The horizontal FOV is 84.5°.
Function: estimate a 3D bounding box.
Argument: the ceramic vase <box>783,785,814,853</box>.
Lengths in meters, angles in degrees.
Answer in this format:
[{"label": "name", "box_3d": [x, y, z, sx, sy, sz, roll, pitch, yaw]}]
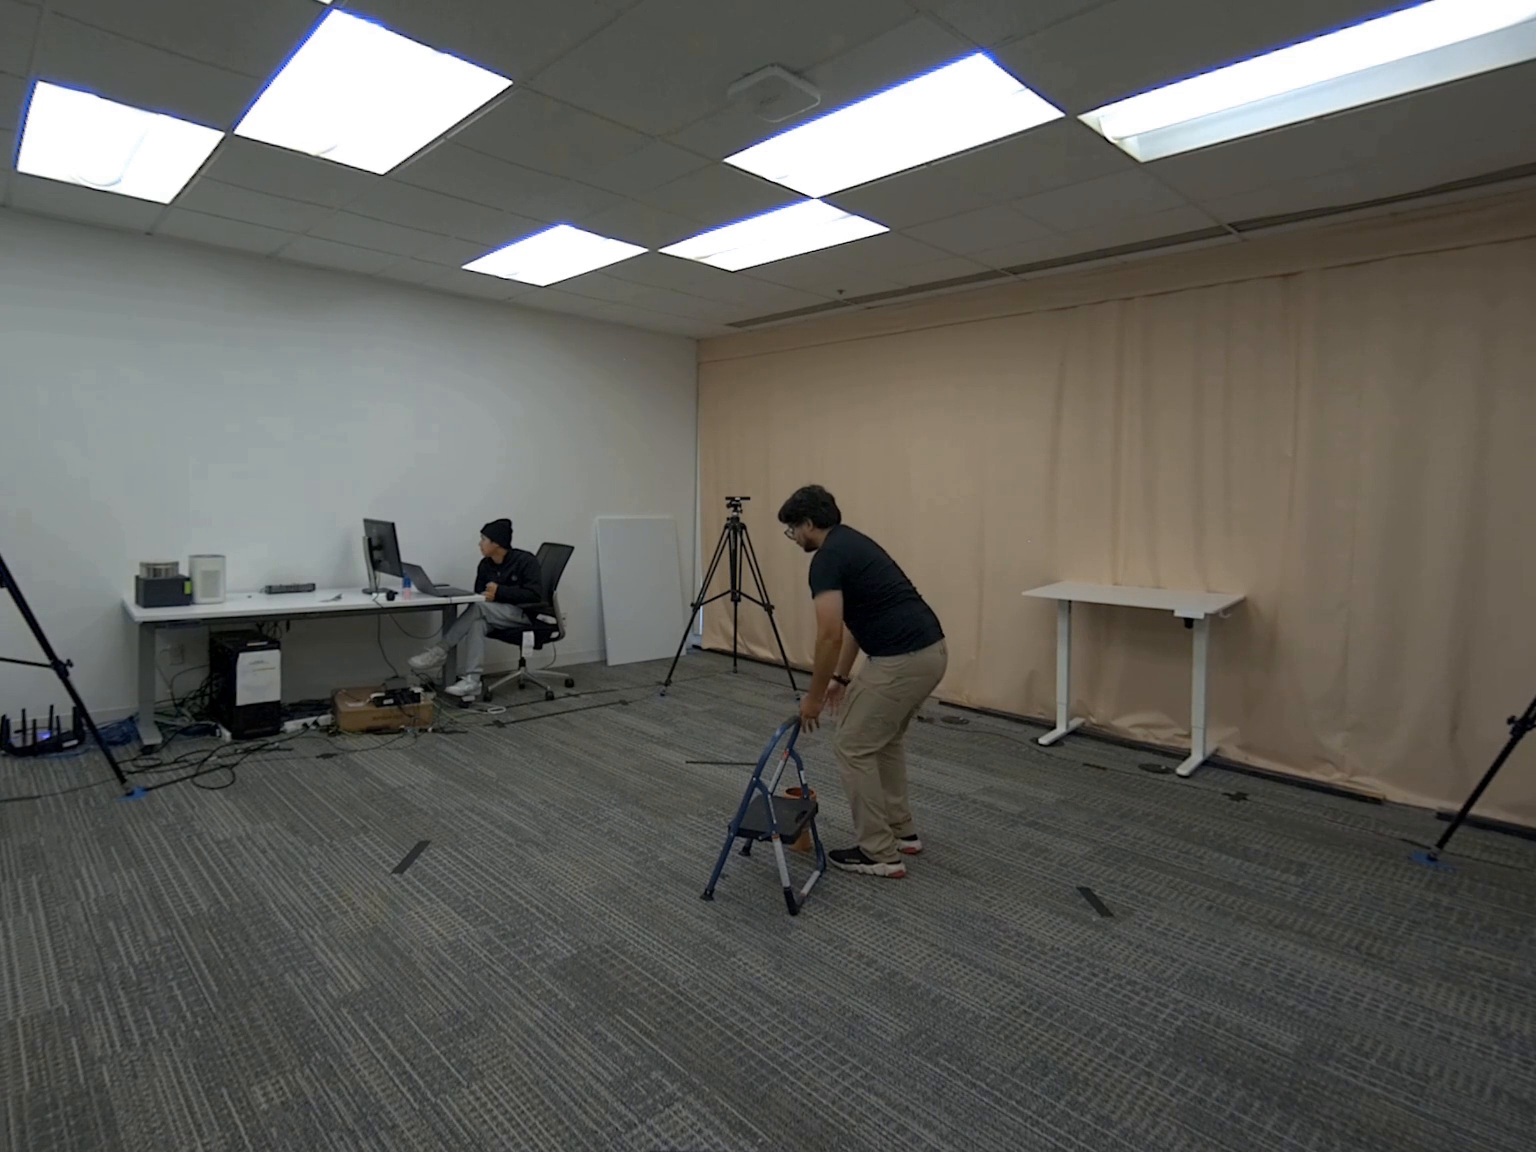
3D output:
[{"label": "ceramic vase", "box_3d": [0.126, 0.978, 3.388, 0.155, 0.219, 0.138, 0, 4, -30]}]
